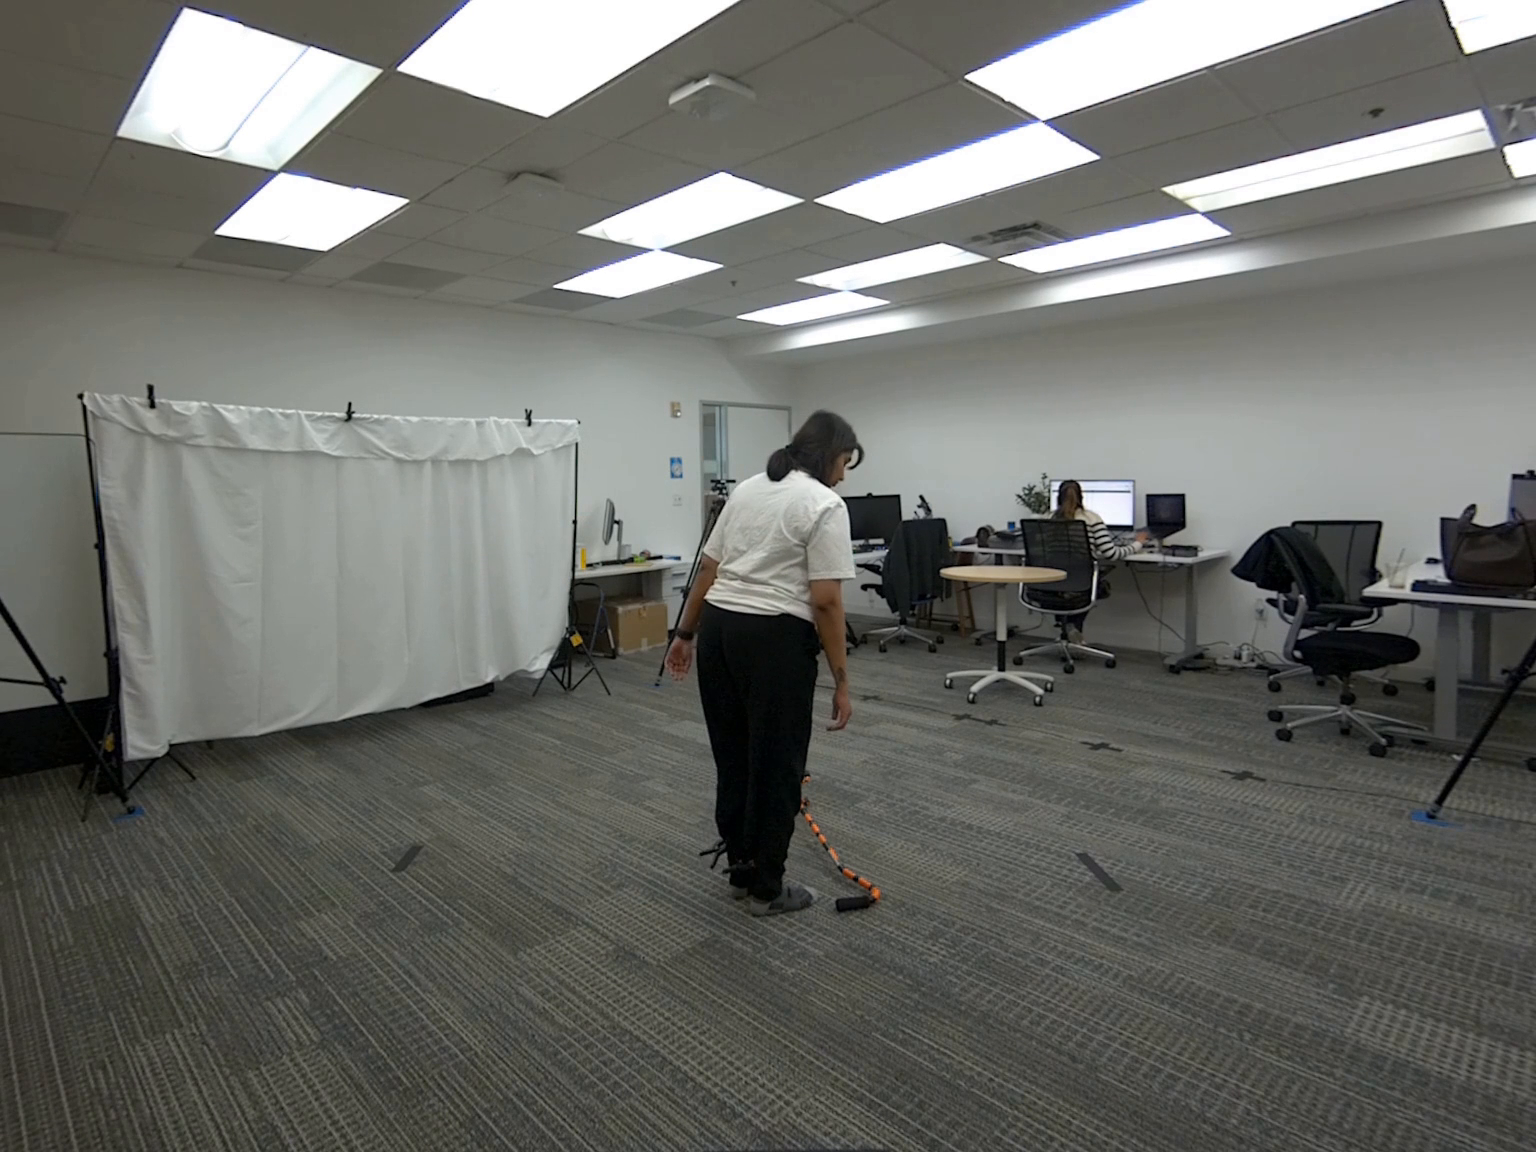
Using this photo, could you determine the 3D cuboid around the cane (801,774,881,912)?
[{"bbox_3d":[0.197,0.983,3.213,0.204,0.150,0.928,-2,11,-15],"label":"cane"}]
